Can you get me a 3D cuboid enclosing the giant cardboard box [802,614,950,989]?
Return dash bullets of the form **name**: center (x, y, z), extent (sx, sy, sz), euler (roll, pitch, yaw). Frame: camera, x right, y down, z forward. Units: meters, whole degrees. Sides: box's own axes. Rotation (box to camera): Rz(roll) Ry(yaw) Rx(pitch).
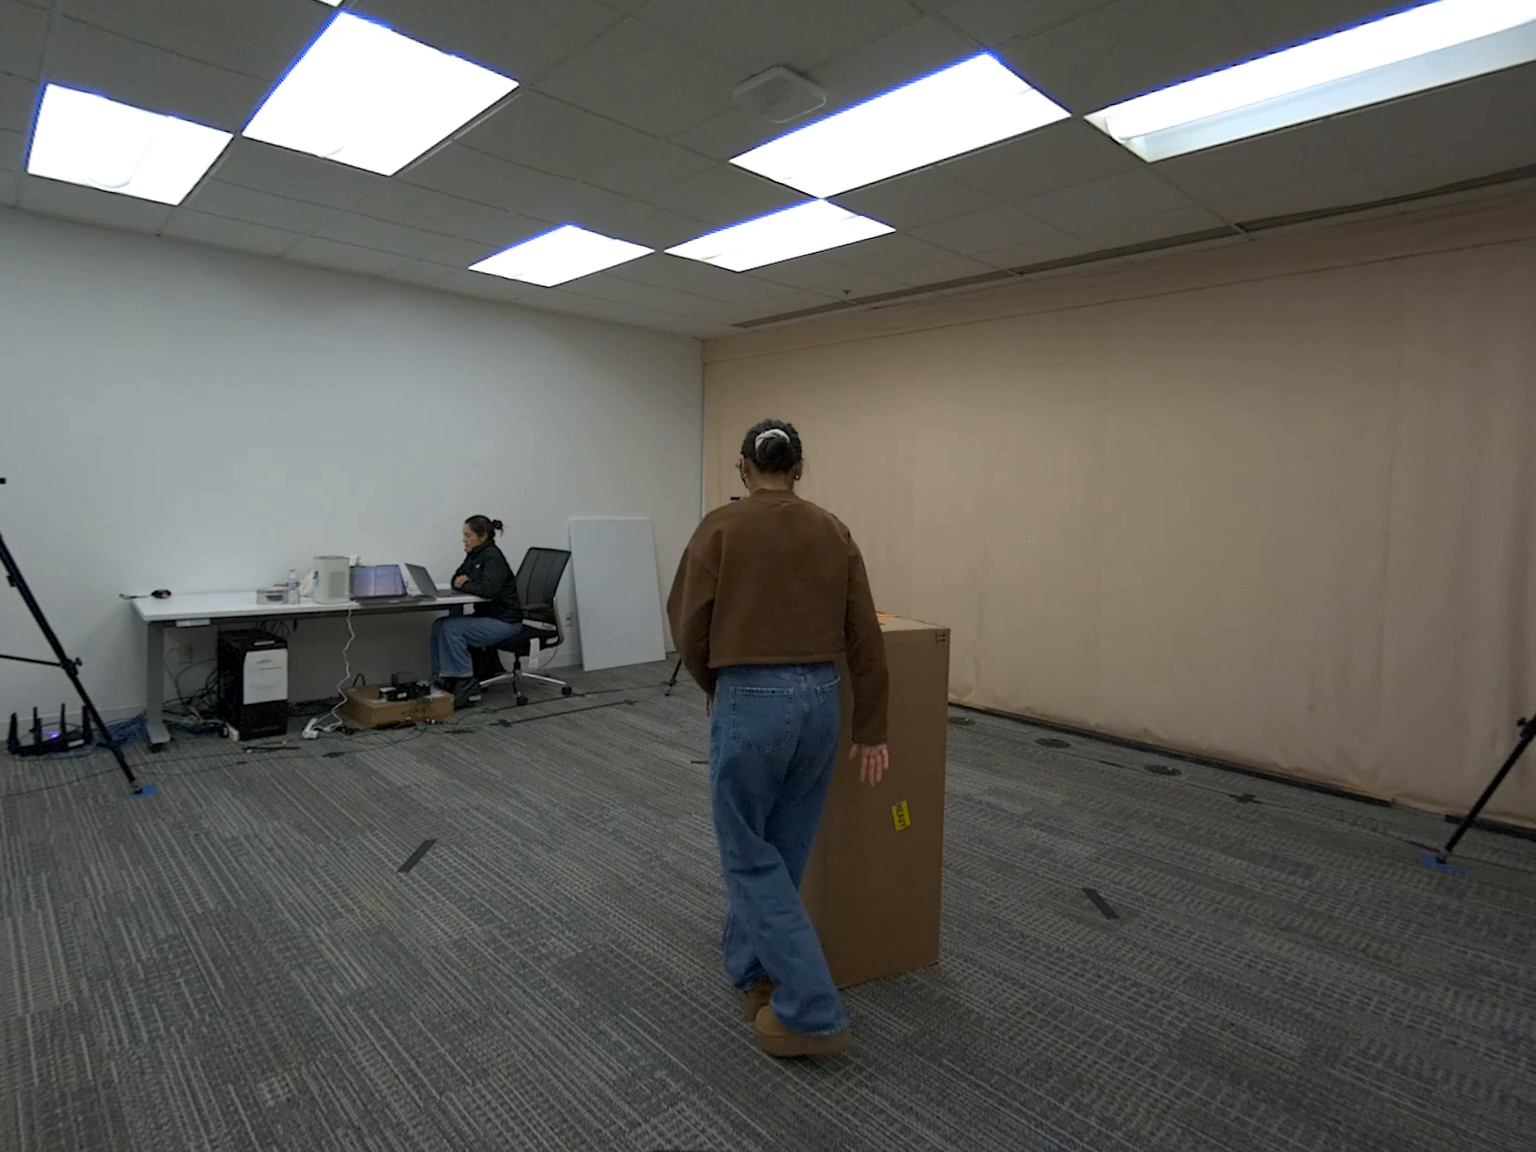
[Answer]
- **giant cardboard box**: center (0.219, 0.645, 2.697), extent (0.418, 1.024, 0.590), euler (0, 3, -29)
